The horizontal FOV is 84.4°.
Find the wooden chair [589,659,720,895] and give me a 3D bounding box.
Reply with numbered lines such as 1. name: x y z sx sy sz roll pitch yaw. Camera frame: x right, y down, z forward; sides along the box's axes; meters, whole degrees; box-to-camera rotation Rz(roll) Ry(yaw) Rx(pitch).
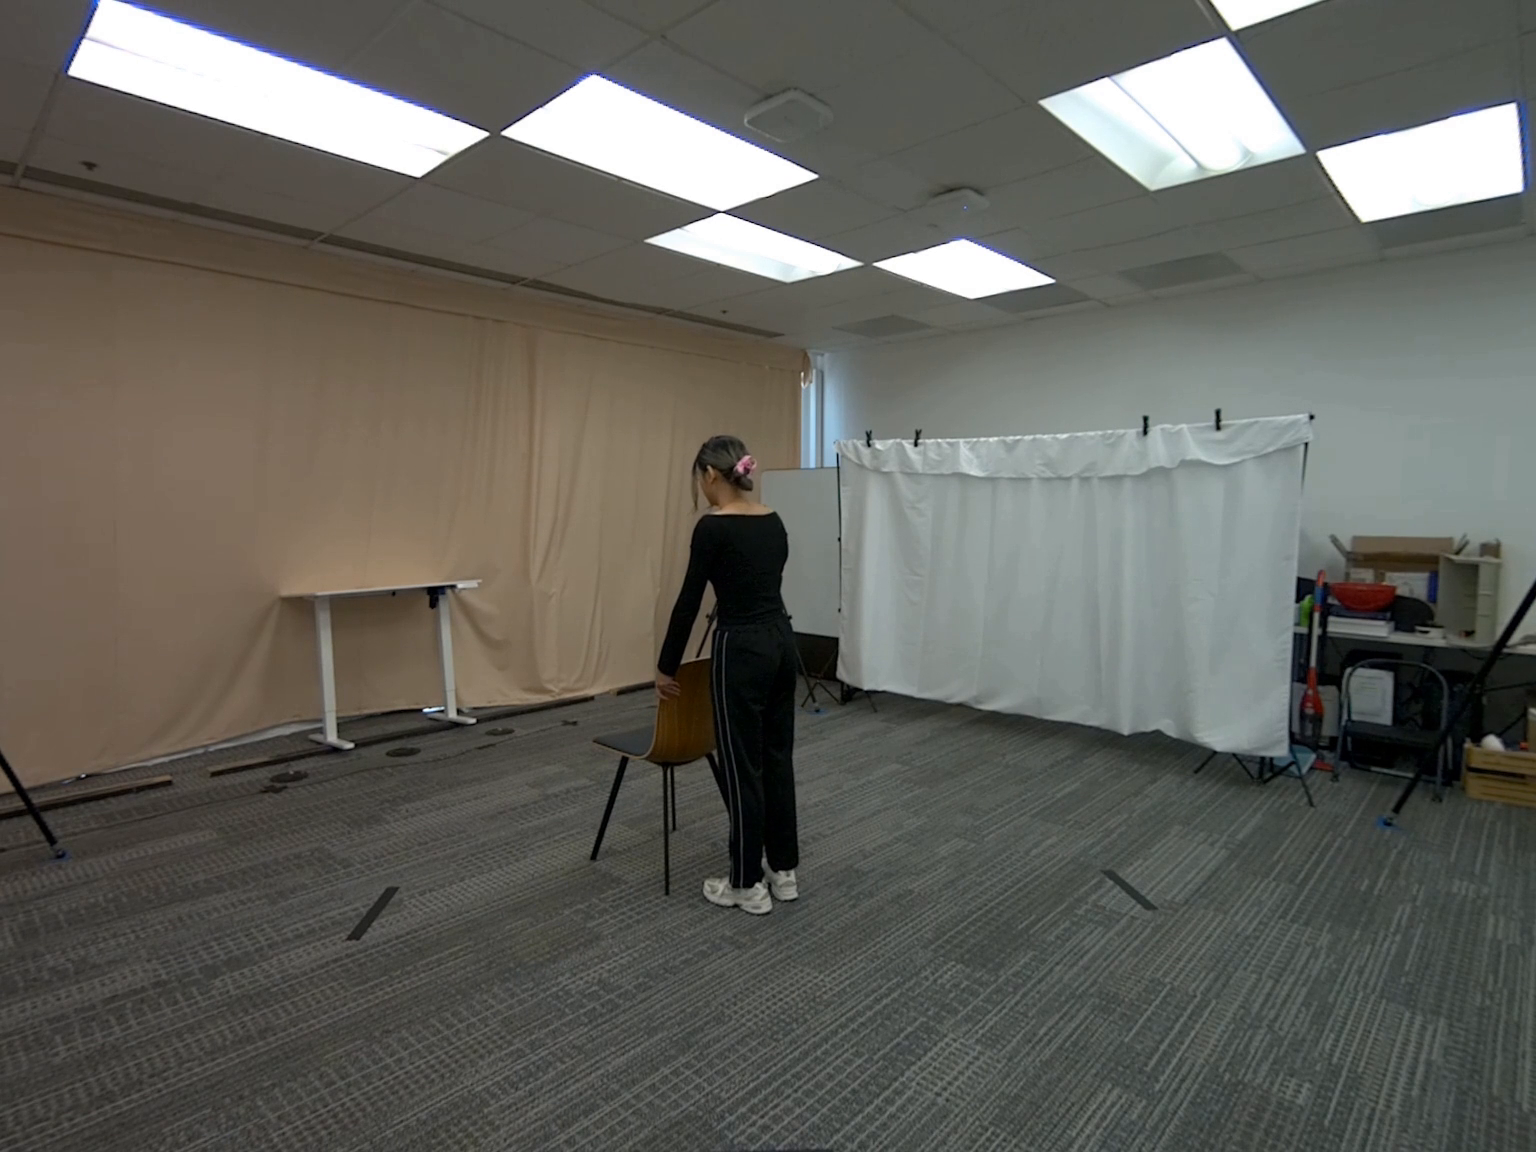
1. wooden chair: -0.396 0.695 3.306 0.541 0.874 0.463 9 8 43
